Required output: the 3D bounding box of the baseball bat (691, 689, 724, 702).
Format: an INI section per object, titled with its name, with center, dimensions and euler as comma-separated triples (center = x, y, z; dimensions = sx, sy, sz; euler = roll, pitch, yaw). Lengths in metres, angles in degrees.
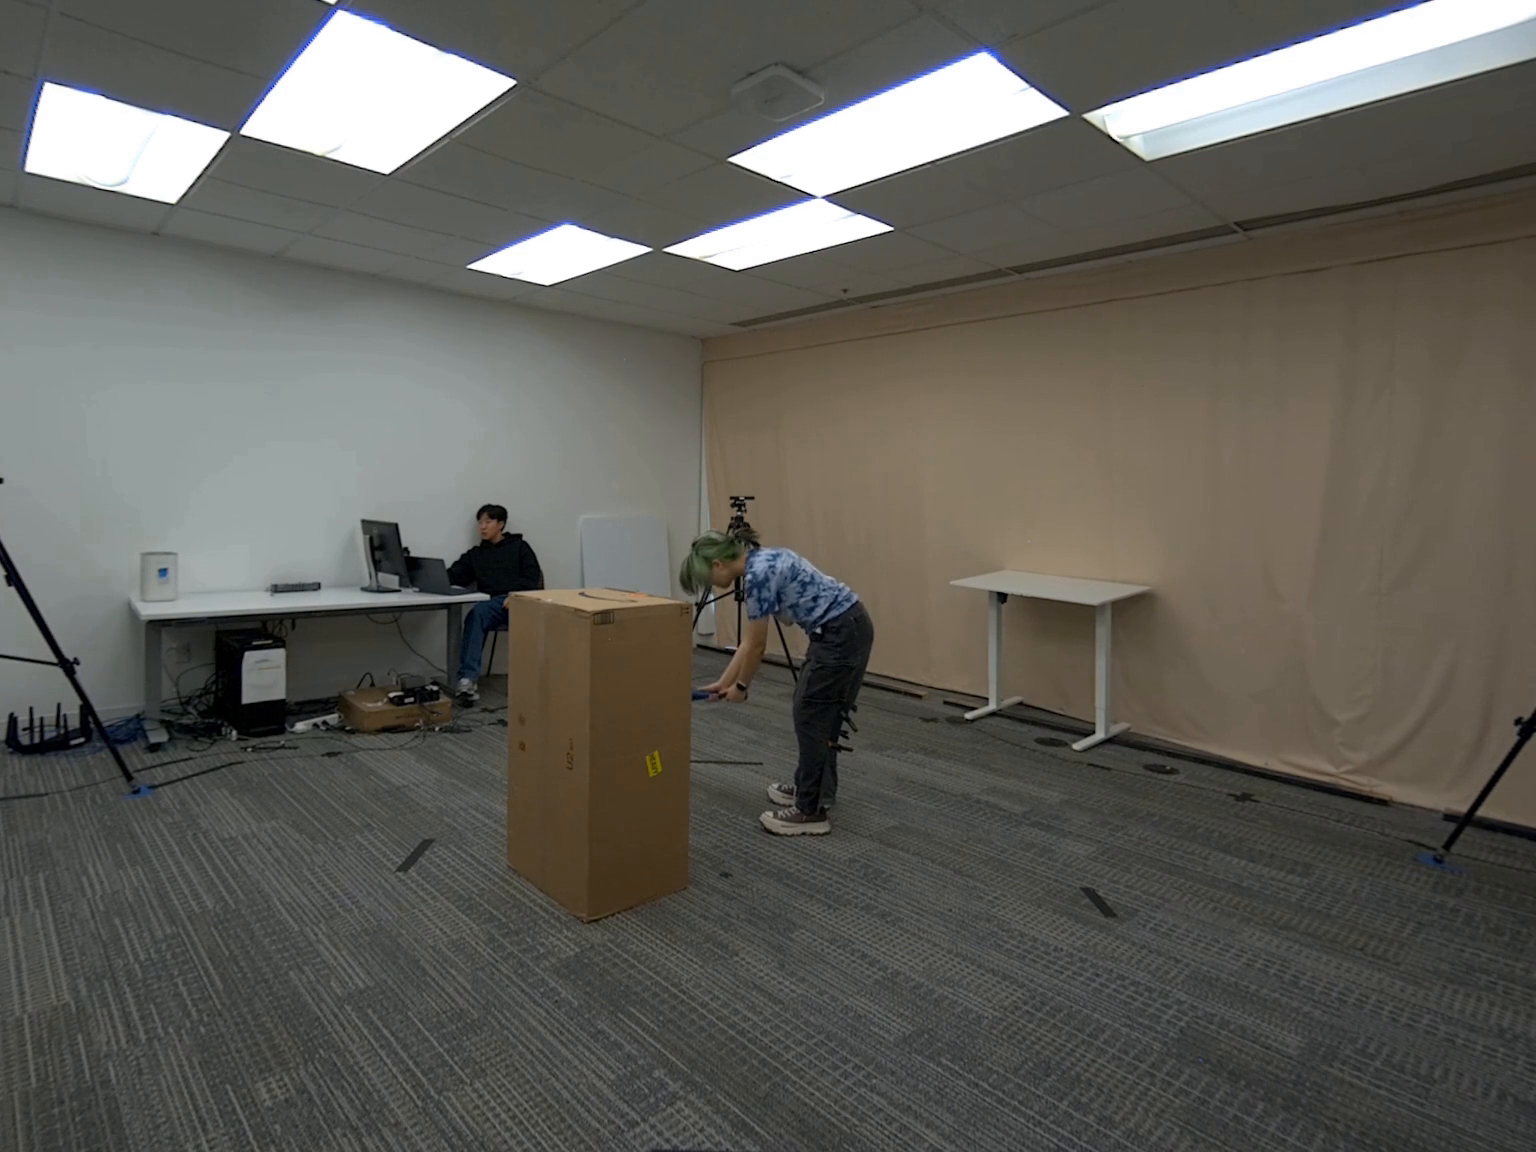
[baseball bat]
center = -0.360, 0.539, 3.804
dimensions = 0.550, 0.089, 0.088
euler = -4, 2, 19
